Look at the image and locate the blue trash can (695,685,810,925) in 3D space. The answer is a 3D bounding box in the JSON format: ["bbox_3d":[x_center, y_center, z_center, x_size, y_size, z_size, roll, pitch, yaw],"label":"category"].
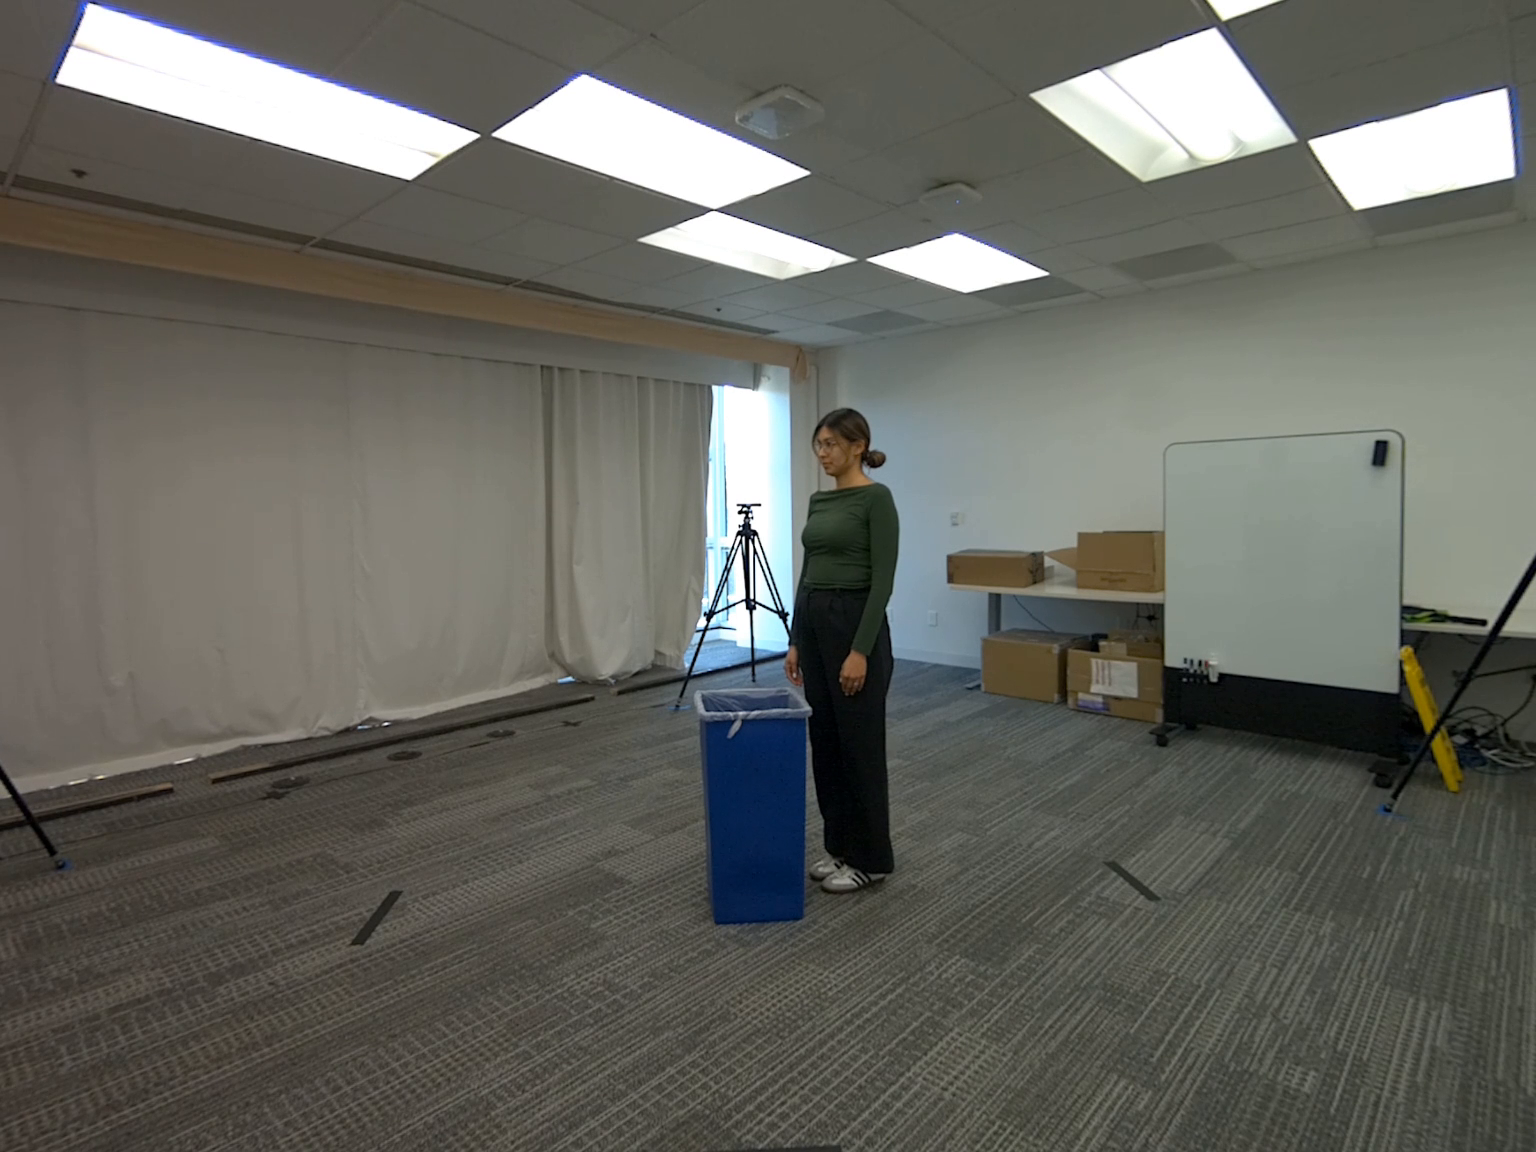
[{"bbox_3d":[-0.055,0.784,2.924,0.372,0.712,0.381,0,3,-6],"label":"blue trash can"}]
